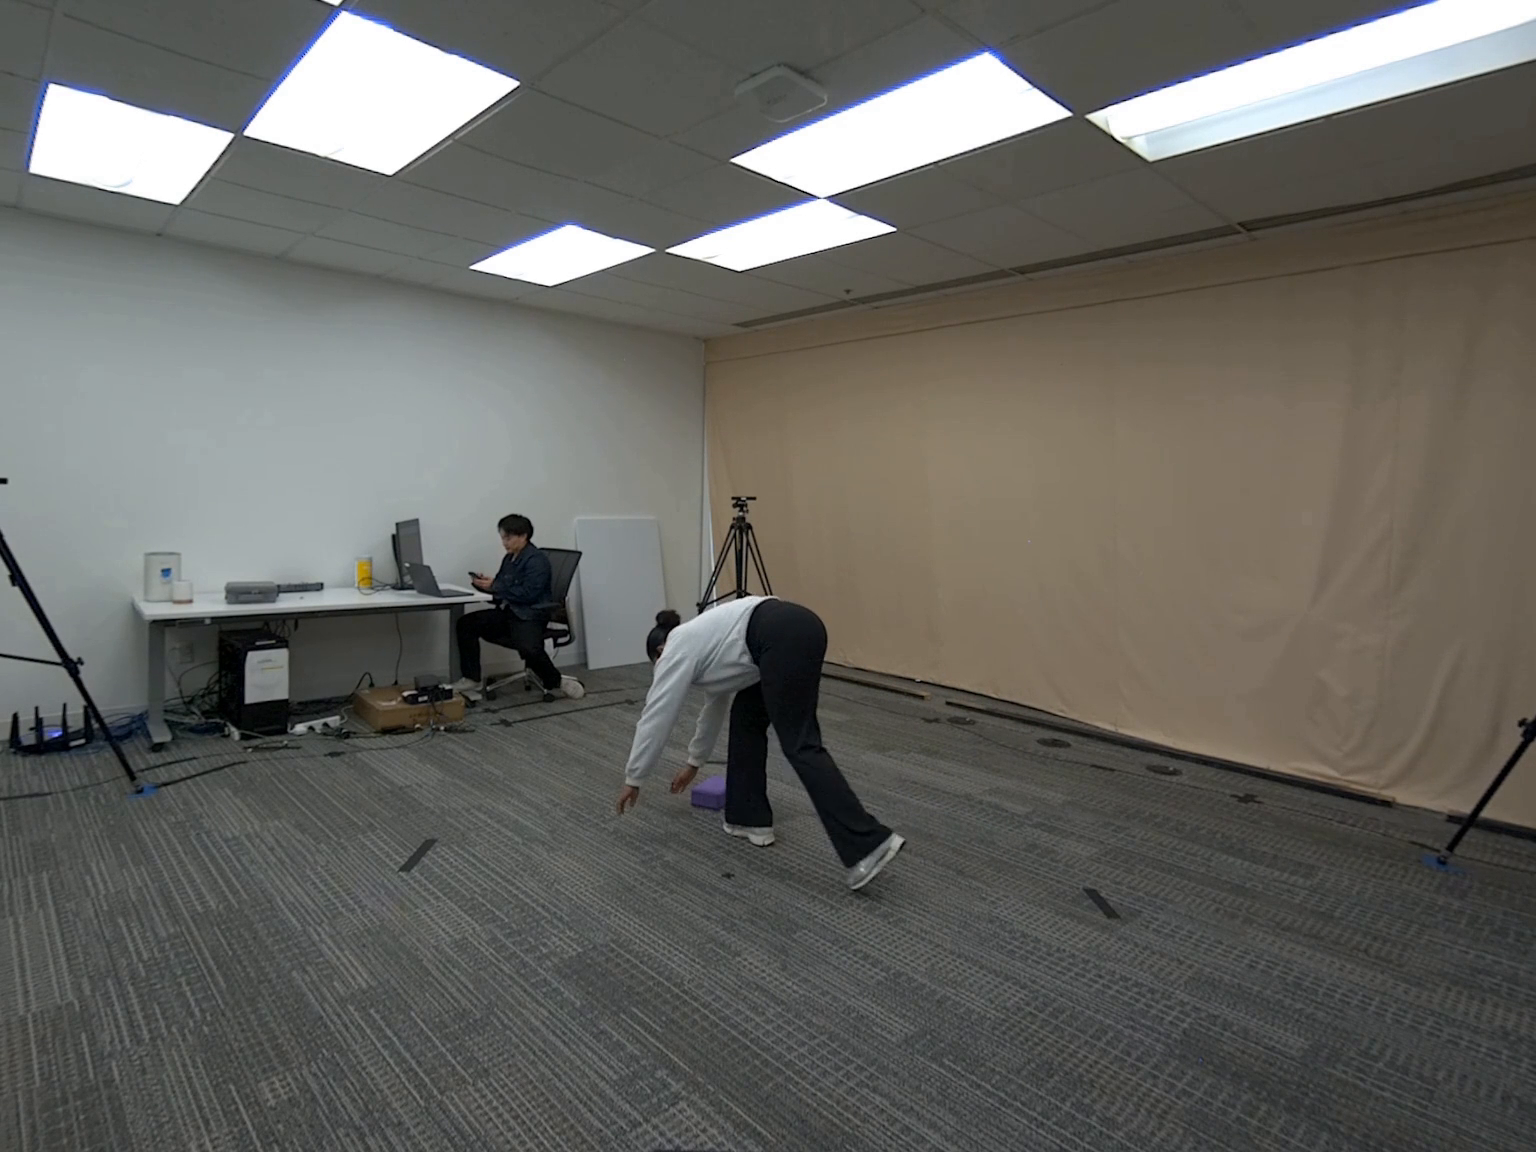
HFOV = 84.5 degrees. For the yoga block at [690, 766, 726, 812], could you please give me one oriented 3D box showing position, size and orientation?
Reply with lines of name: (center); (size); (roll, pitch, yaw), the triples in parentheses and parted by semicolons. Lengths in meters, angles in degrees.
yoga block: (-0.250, 0.991, 3.882); (0.152, 0.076, 0.225); (3, 6, 26)
